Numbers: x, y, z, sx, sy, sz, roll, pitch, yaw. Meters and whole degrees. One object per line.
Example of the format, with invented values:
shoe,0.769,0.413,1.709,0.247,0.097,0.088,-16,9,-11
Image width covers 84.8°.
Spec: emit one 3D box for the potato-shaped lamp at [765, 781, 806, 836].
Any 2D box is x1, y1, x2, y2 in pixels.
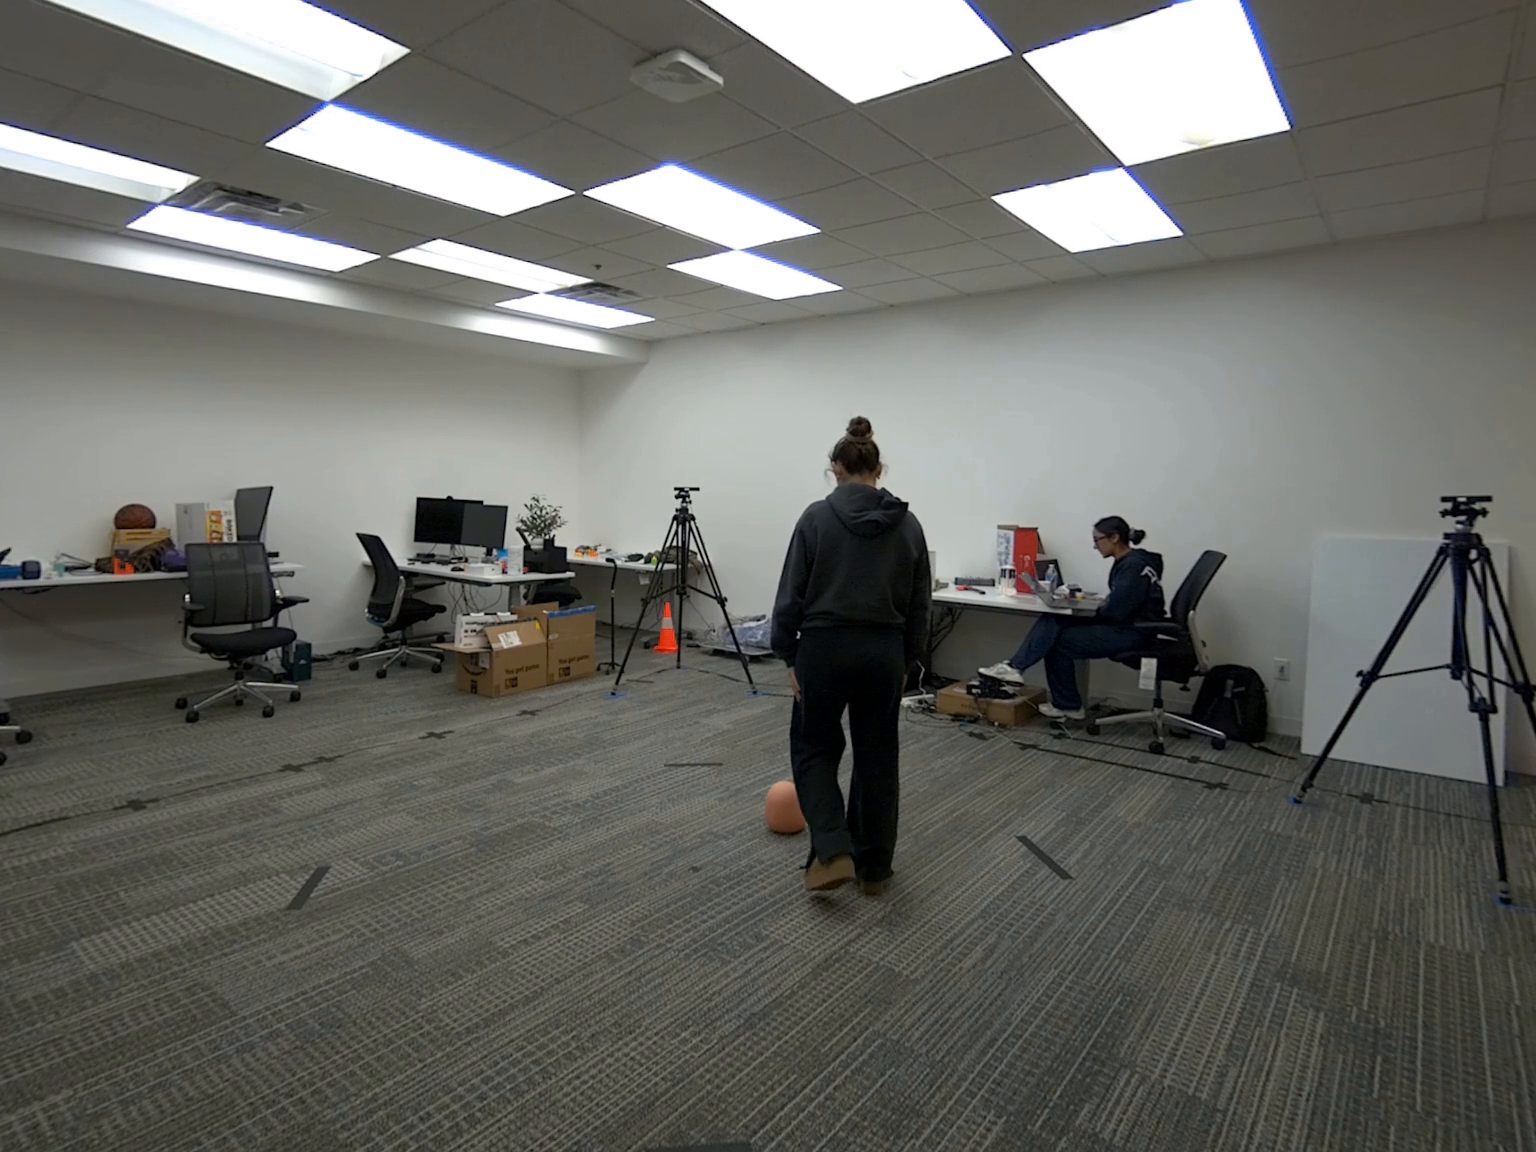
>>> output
potato-shaped lamp,0.069,0.936,3.481,0.166,0.197,0.170,-5,10,-41
